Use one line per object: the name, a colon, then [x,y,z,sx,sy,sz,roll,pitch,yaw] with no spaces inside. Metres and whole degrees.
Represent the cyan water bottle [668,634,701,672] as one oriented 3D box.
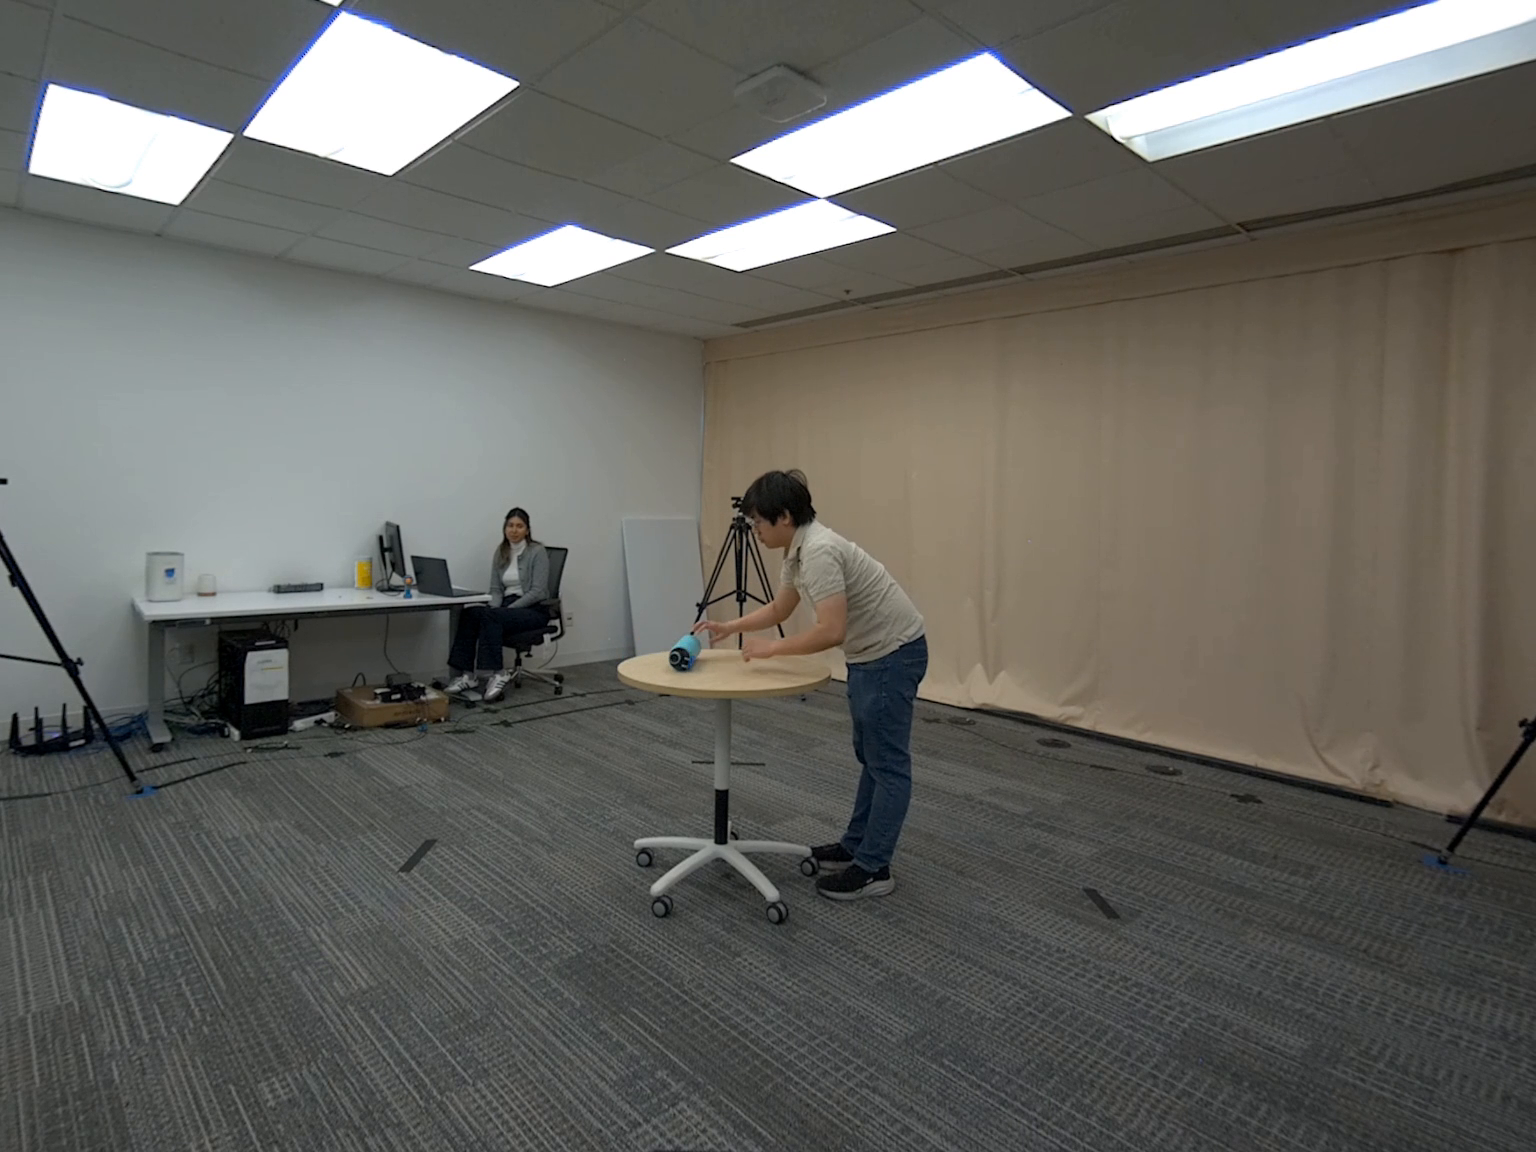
cyan water bottle: [-0.306,0.275,3.063,0.092,0.092,0.283,2,4,1]
